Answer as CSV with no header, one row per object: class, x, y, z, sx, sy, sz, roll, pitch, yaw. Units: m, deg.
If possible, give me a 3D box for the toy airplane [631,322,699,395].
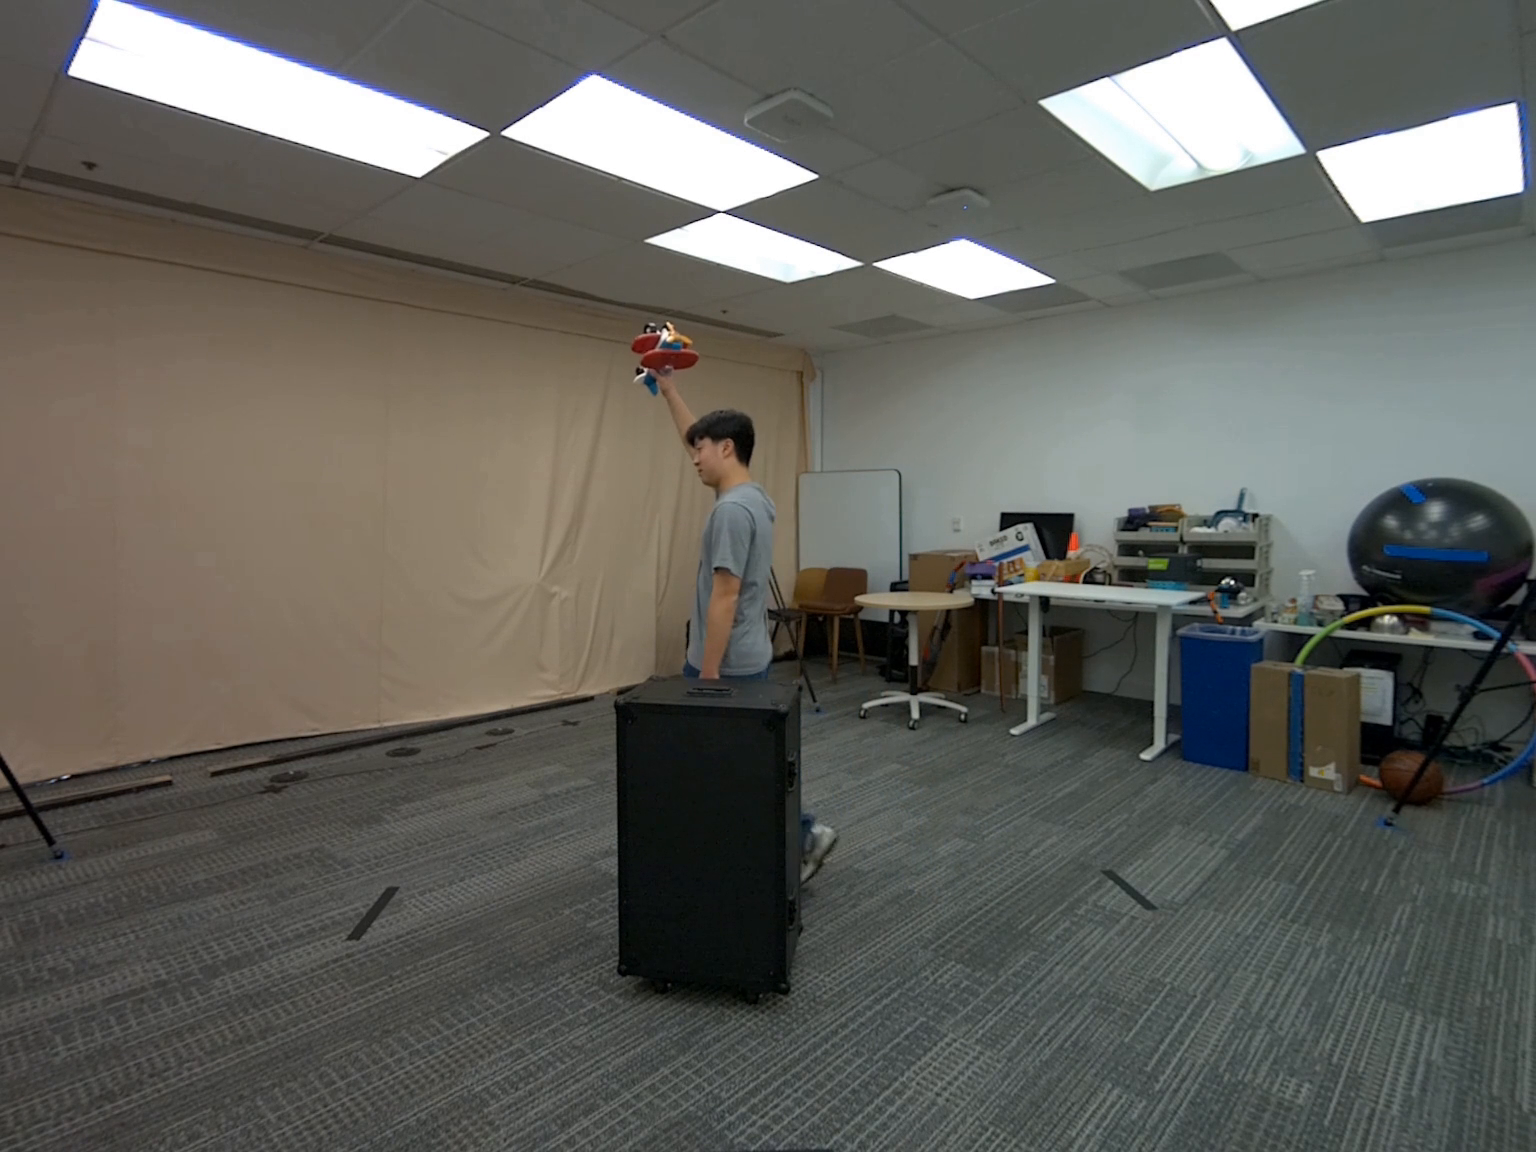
toy airplane,-0.390,-0.815,3.135,0.248,0.254,0.161,-30,58,-21
